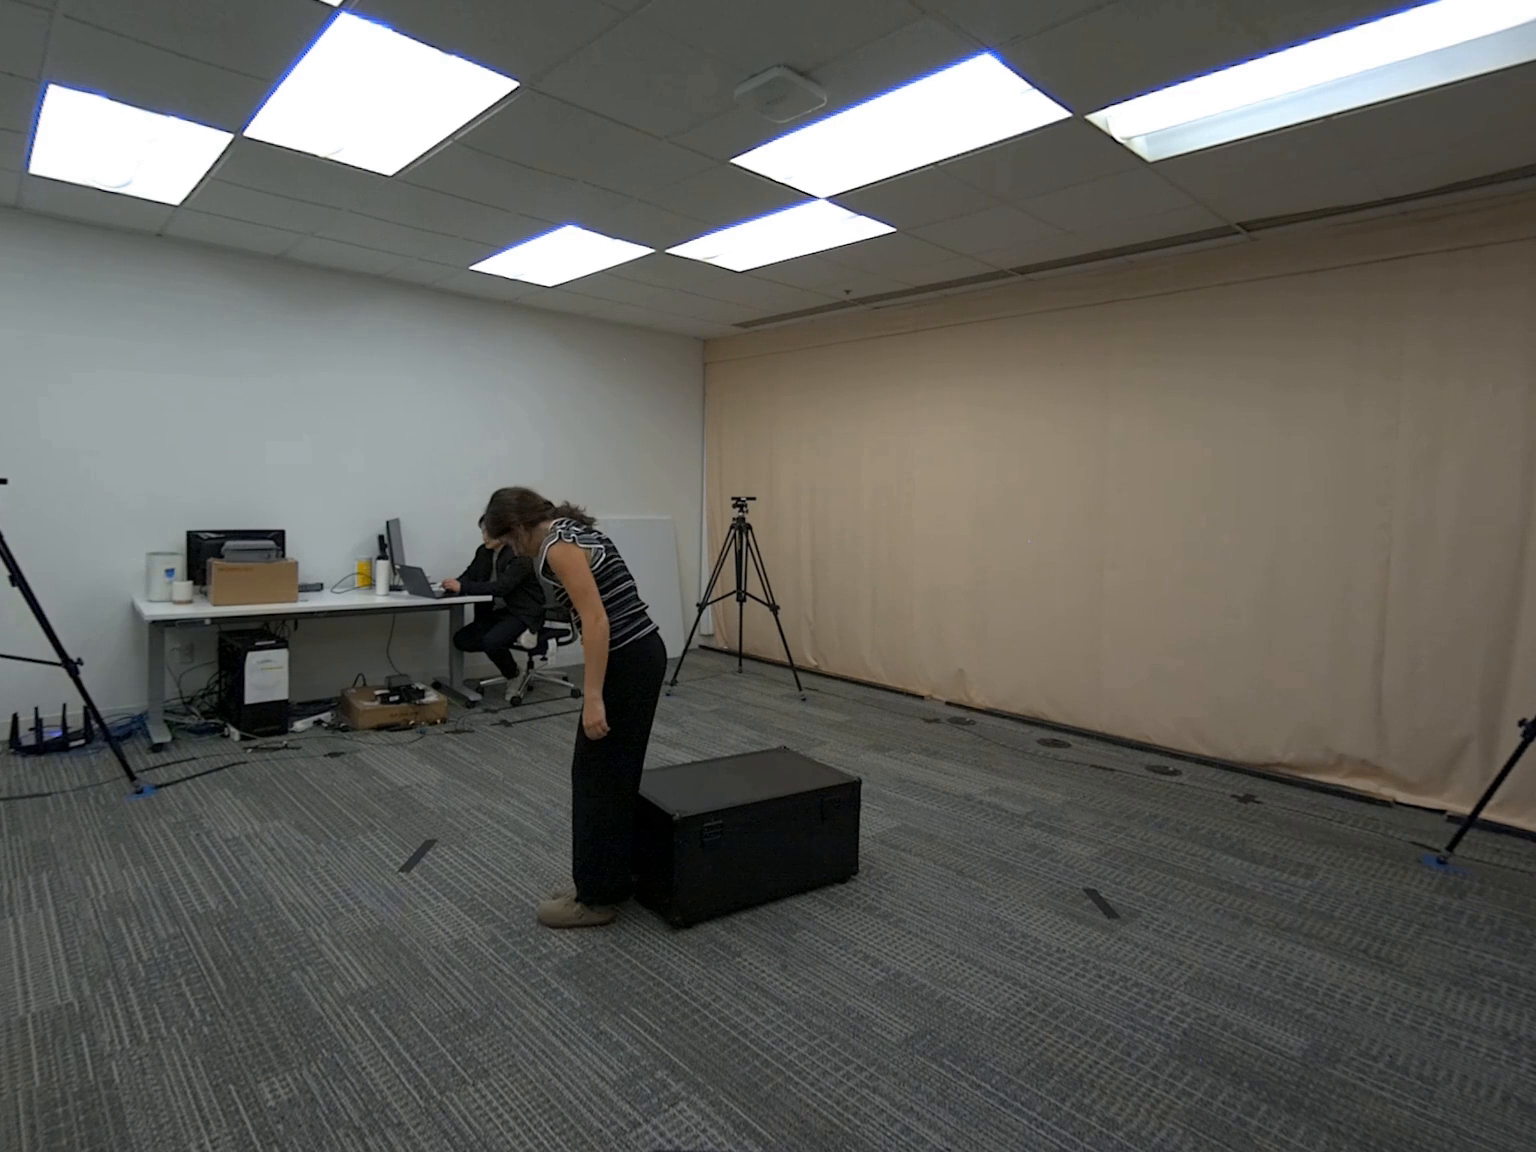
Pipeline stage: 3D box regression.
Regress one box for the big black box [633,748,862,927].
[{"bbox_3d":[-0.093,0.920,3.086,0.843,0.395,0.534,-3,6,-34],"label":"big black box"}]
